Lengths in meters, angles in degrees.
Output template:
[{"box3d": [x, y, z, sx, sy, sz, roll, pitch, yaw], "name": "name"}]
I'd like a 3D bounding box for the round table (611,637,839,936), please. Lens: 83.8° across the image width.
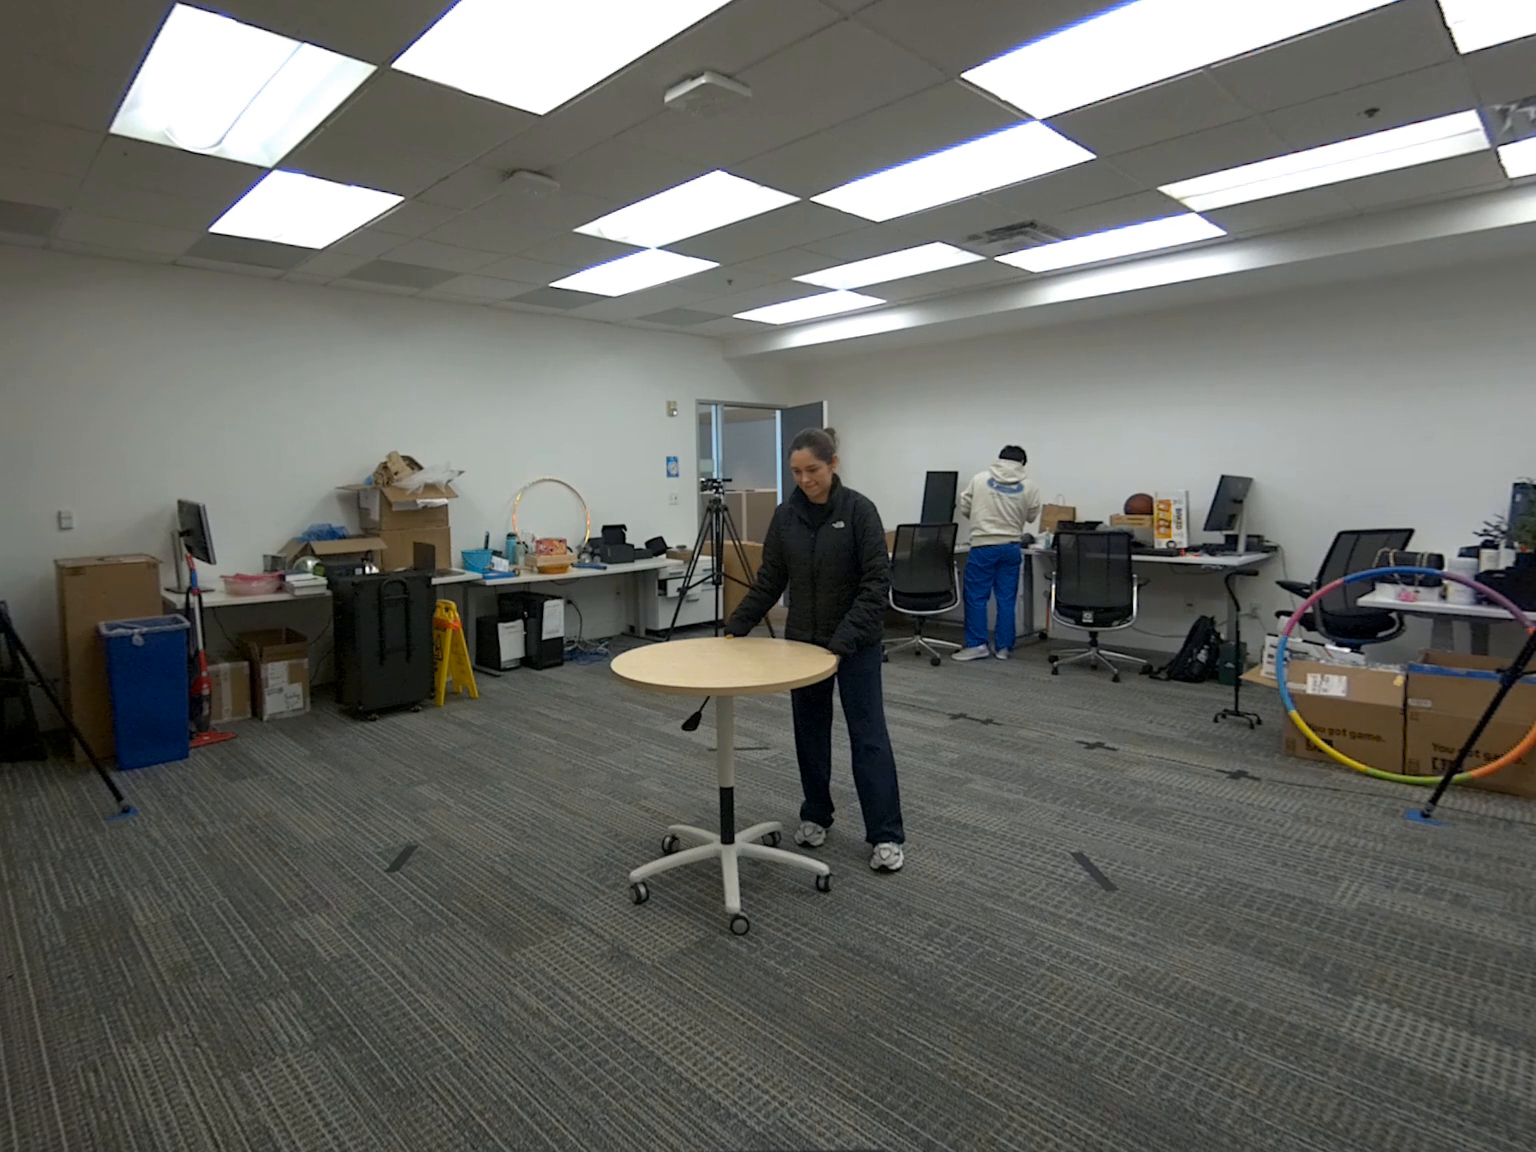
[{"box3d": [-0.160, 0.667, 2.955, 0.784, 0.783, 0.789, -1, 5, -2], "name": "round table"}]
